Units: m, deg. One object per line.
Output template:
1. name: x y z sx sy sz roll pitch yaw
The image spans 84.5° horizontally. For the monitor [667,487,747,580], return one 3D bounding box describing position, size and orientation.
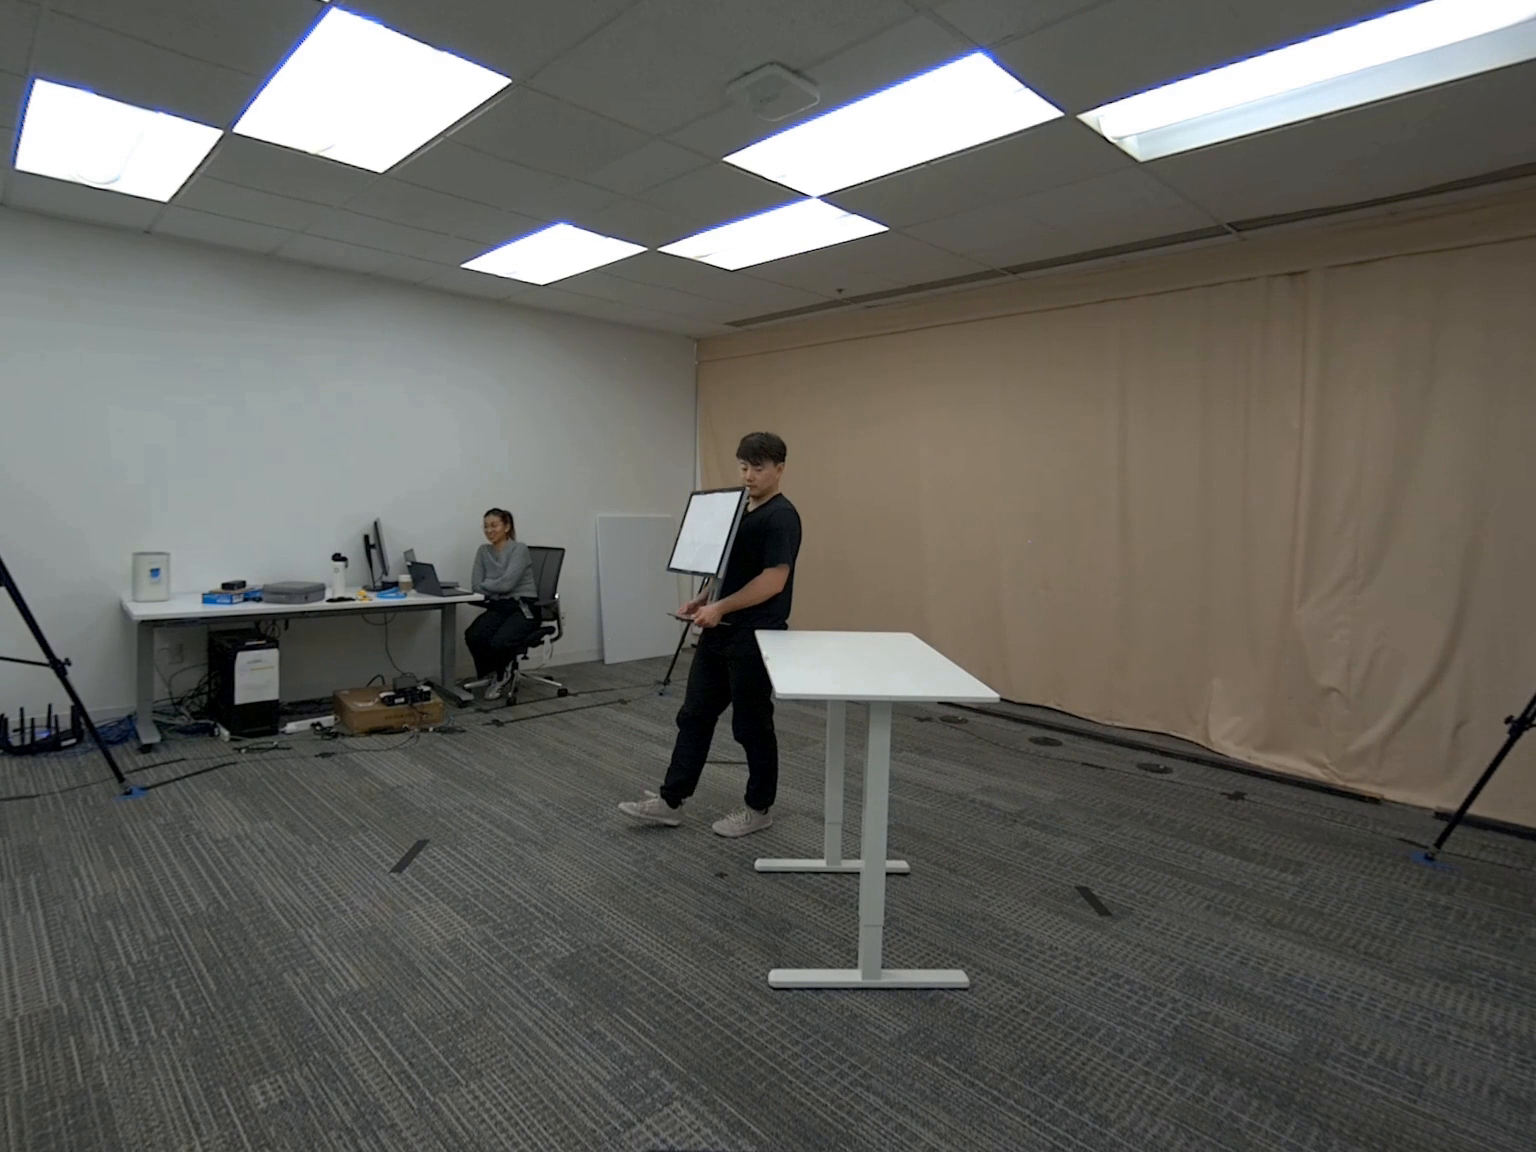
1. monitor: -0.247 -0.087 3.410 0.183 0.523 0.550 8 -2 -28
